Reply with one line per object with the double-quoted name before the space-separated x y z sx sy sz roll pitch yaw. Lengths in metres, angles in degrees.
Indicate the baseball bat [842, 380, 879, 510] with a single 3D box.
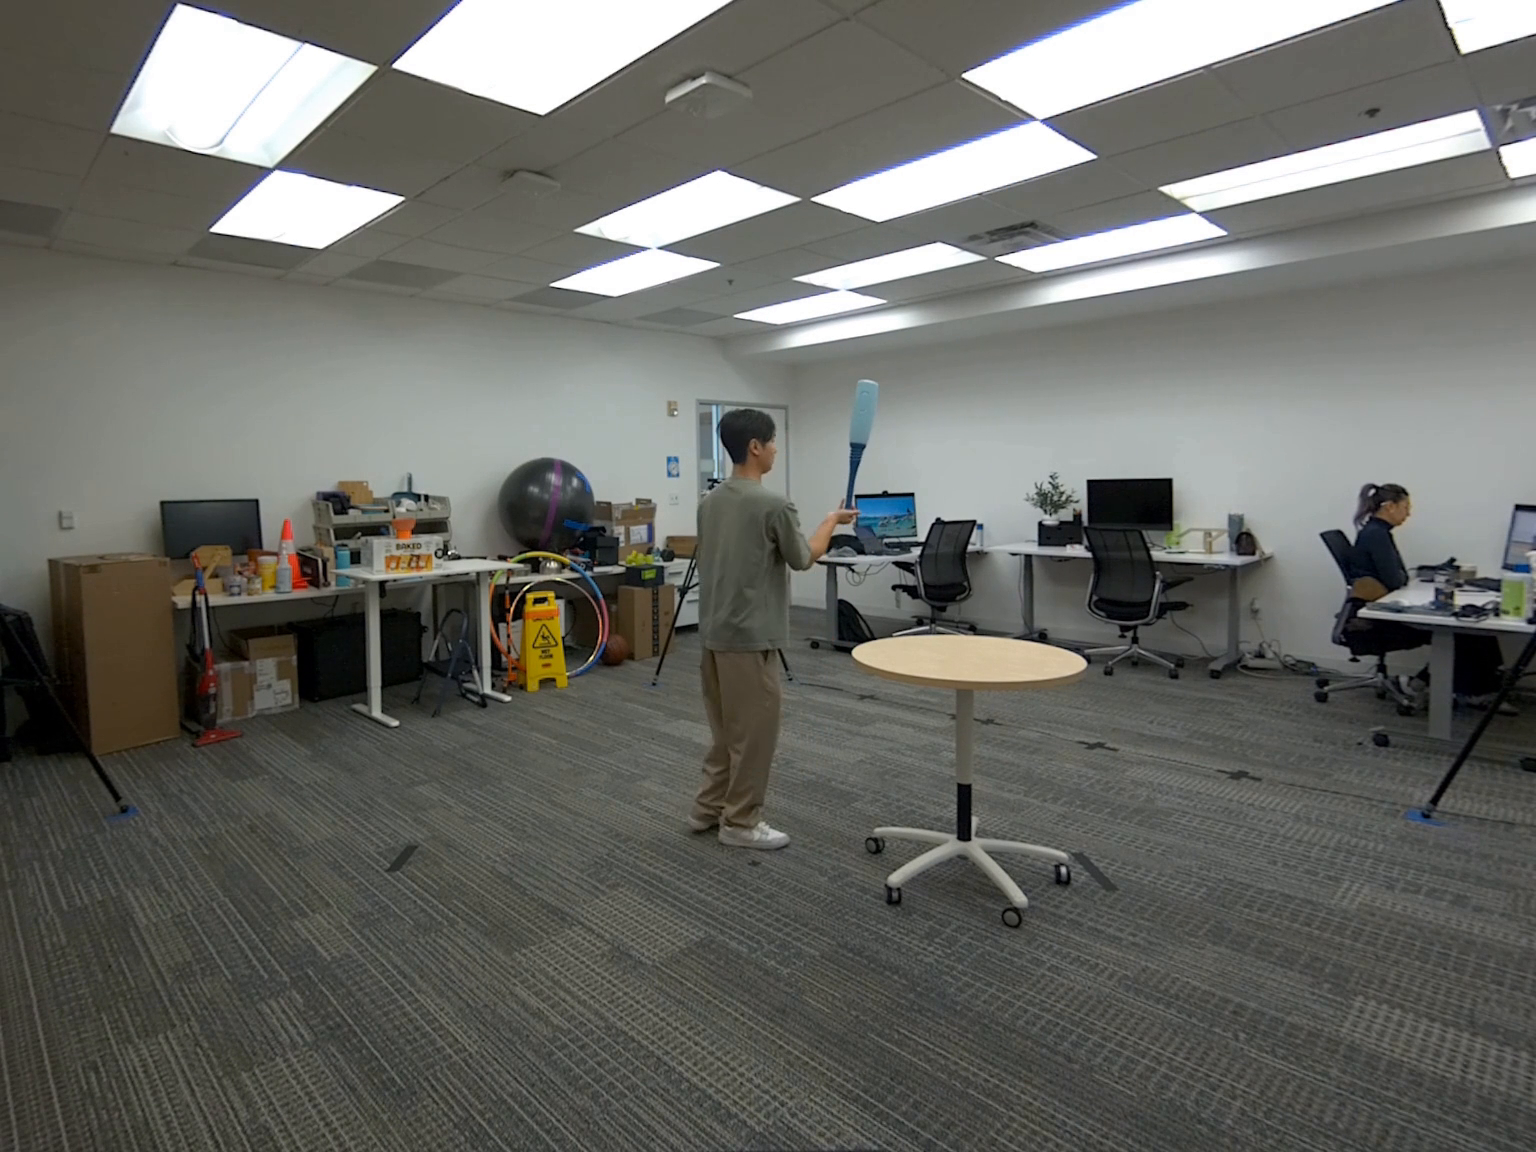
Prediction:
"baseball bat" 0.371 -0.513 3.417 0.089 0.542 0.089 7 3 -2
